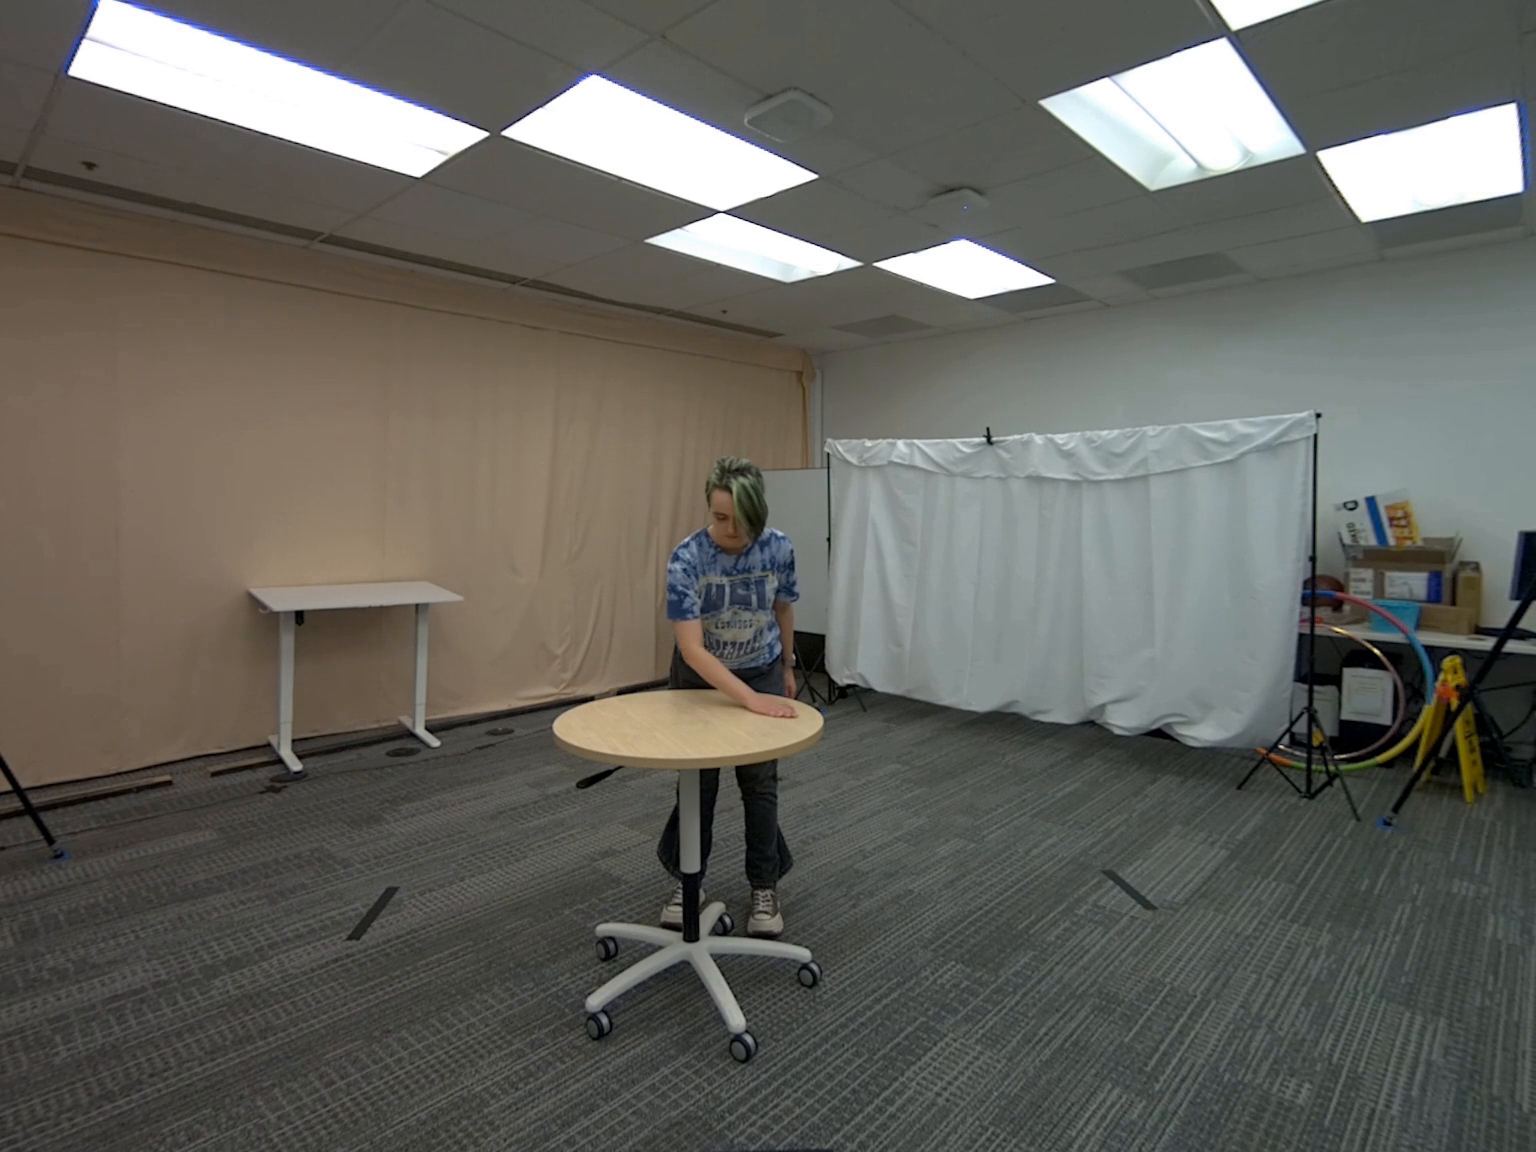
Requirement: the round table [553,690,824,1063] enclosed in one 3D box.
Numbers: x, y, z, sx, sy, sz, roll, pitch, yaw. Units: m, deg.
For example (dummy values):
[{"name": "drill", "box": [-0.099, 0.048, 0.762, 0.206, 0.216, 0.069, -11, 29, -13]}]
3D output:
[{"name": "round table", "box": [-0.229, 0.796, 2.434, 0.784, 0.785, 0.788, 0, 4, -2]}]
